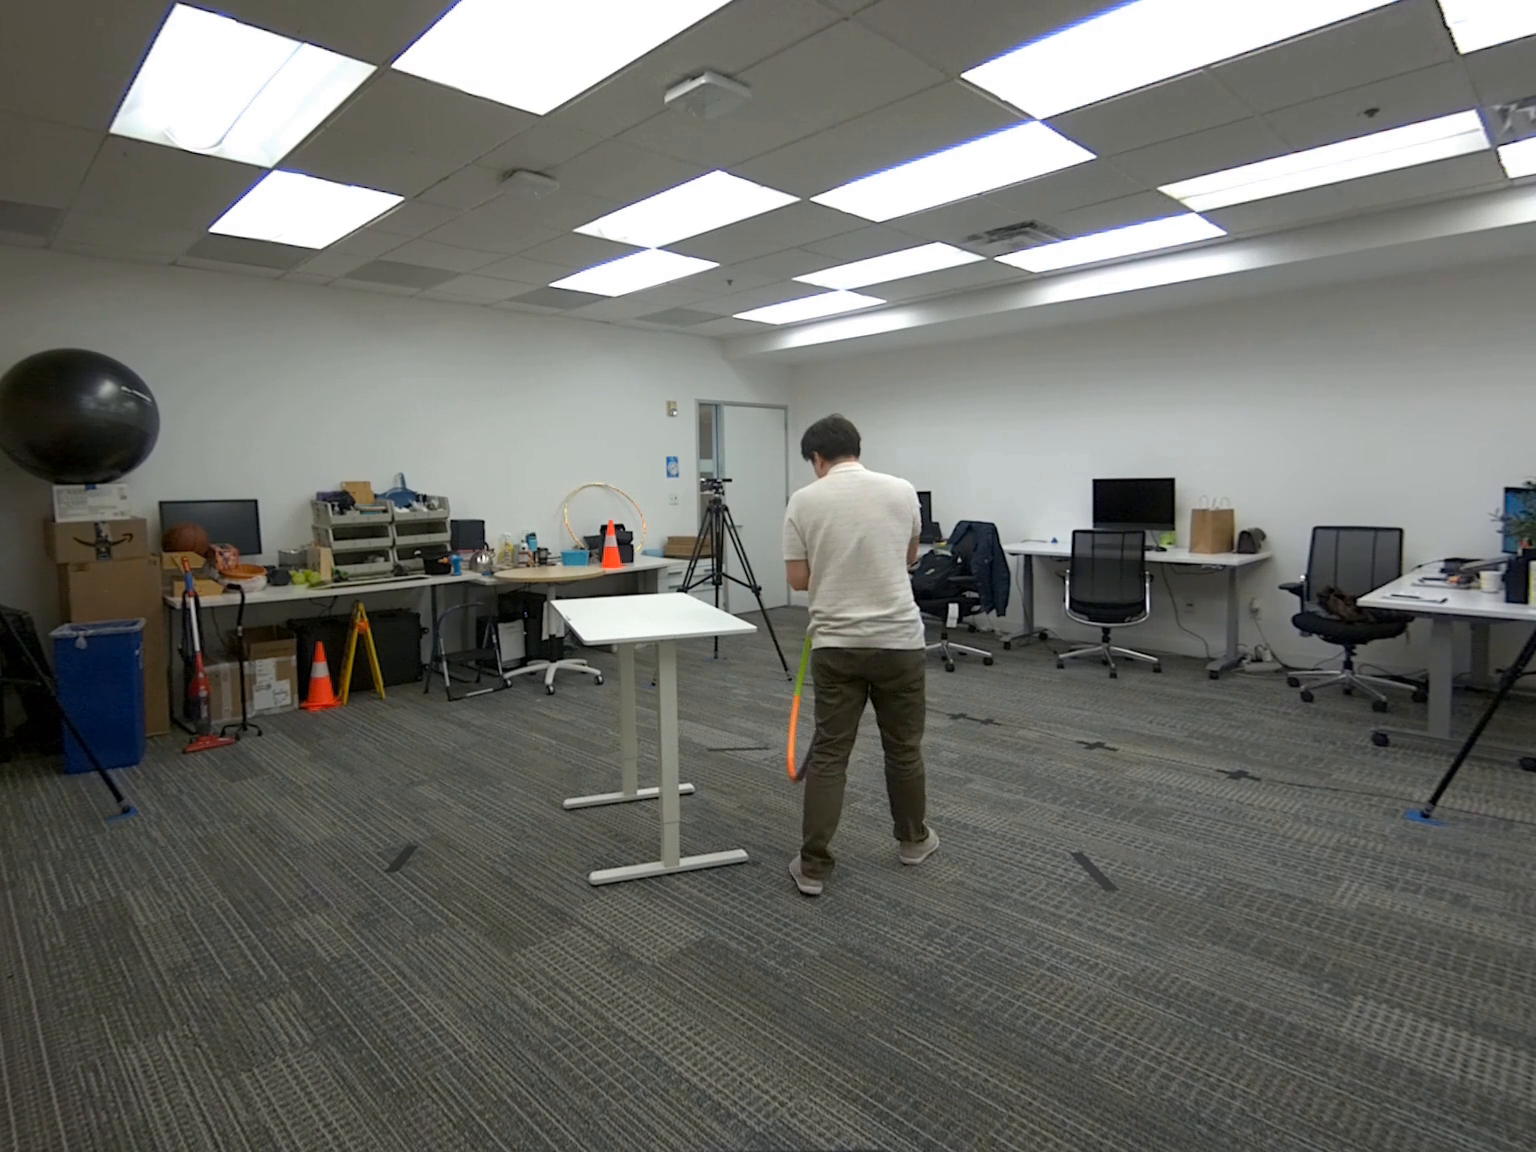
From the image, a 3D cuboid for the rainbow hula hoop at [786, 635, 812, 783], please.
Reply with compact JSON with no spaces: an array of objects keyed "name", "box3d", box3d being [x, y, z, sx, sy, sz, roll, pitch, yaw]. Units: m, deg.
[{"name":"rainbow hula hoop","box3d":[0.217,0.382,3.633,0.035,0.976,0.983,12,5,-3]}]
